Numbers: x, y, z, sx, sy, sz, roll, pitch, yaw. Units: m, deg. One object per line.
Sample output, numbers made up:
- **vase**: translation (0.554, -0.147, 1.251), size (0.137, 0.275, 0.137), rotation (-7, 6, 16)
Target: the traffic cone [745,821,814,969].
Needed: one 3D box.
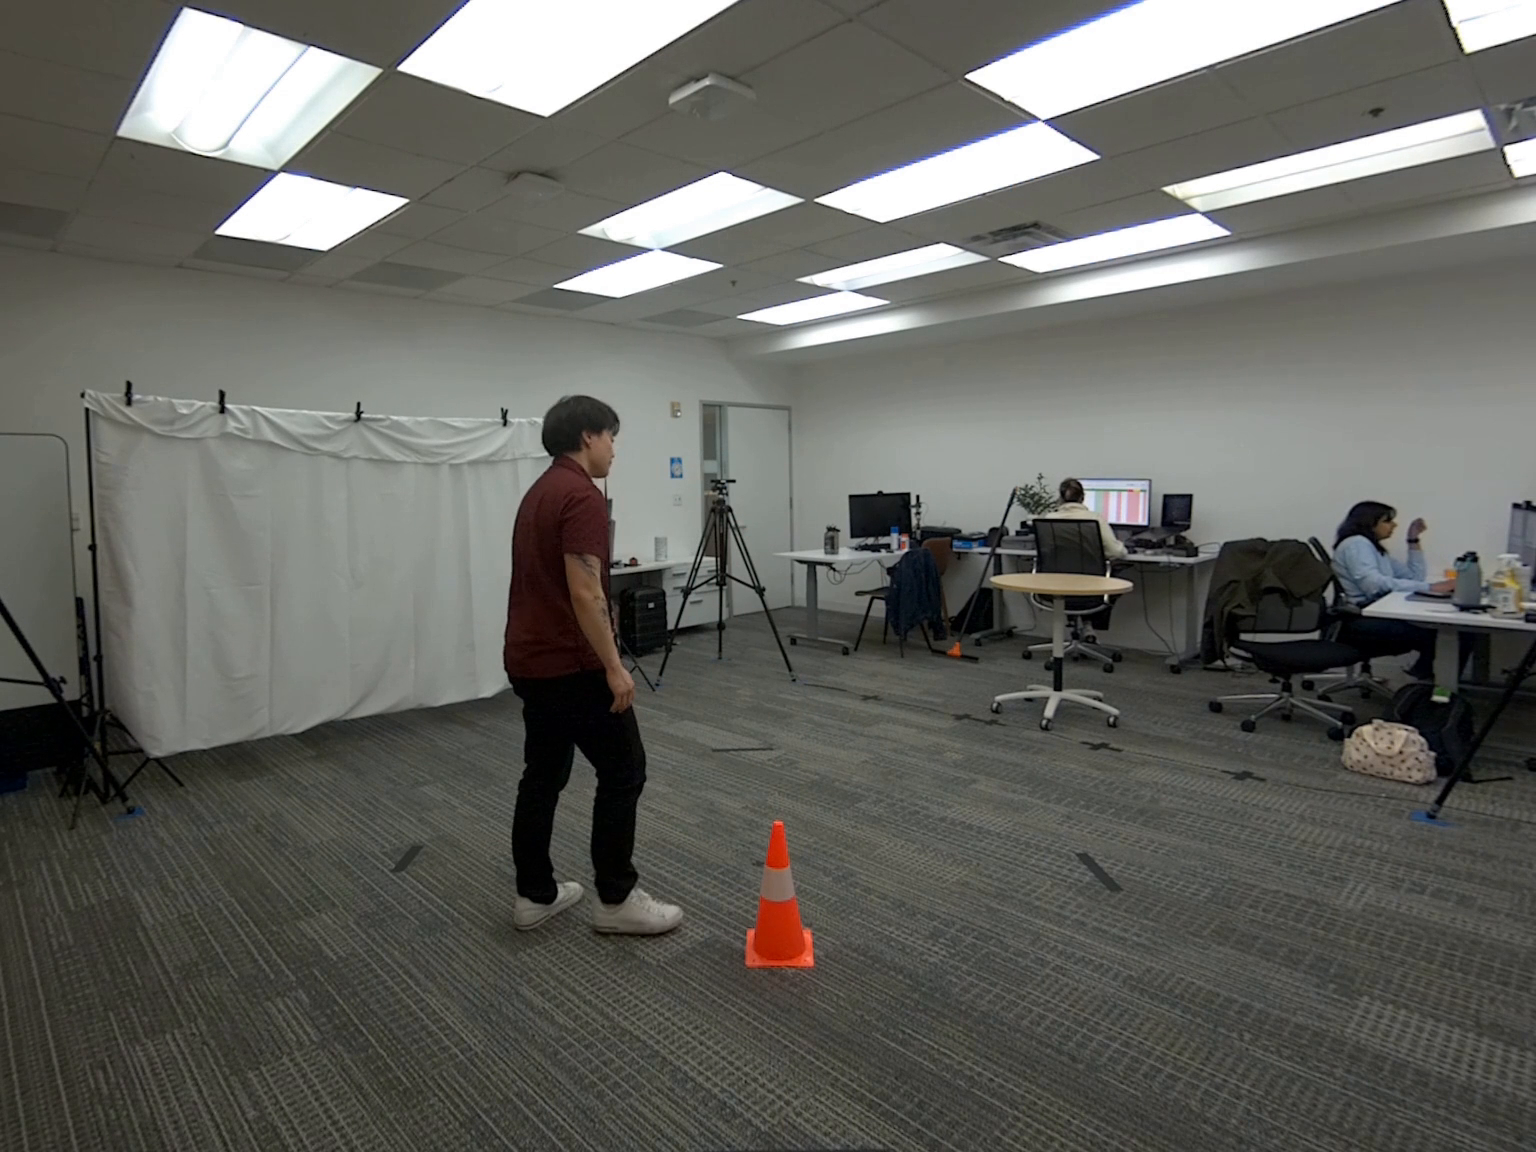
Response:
- **traffic cone**: translation (0.032, 0.925, 2.528), size (0.204, 0.382, 0.205), rotation (-1, 6, 5)
